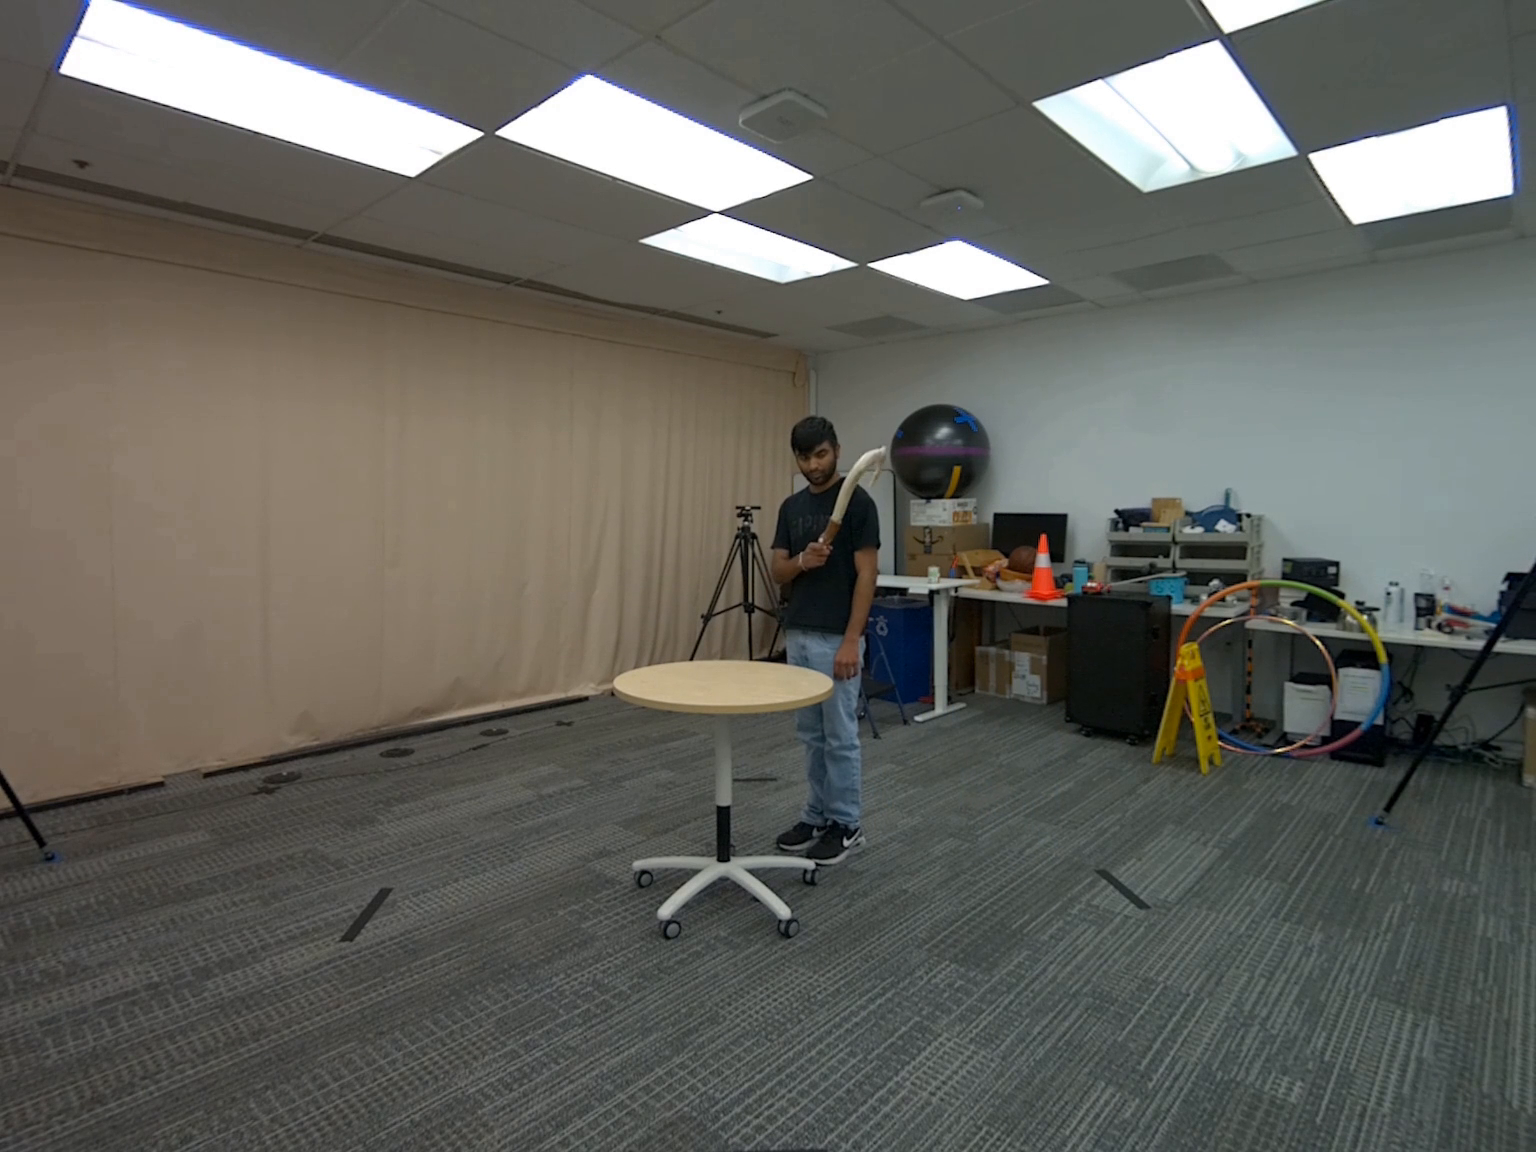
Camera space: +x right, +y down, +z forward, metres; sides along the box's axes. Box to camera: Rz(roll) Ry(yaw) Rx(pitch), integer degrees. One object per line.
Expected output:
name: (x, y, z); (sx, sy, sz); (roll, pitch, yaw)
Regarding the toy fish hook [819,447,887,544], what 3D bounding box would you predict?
toy fish hook: (0.287, -0.244, 3.094); (0.219, 0.504, 0.050); (-20, 56, -41)
